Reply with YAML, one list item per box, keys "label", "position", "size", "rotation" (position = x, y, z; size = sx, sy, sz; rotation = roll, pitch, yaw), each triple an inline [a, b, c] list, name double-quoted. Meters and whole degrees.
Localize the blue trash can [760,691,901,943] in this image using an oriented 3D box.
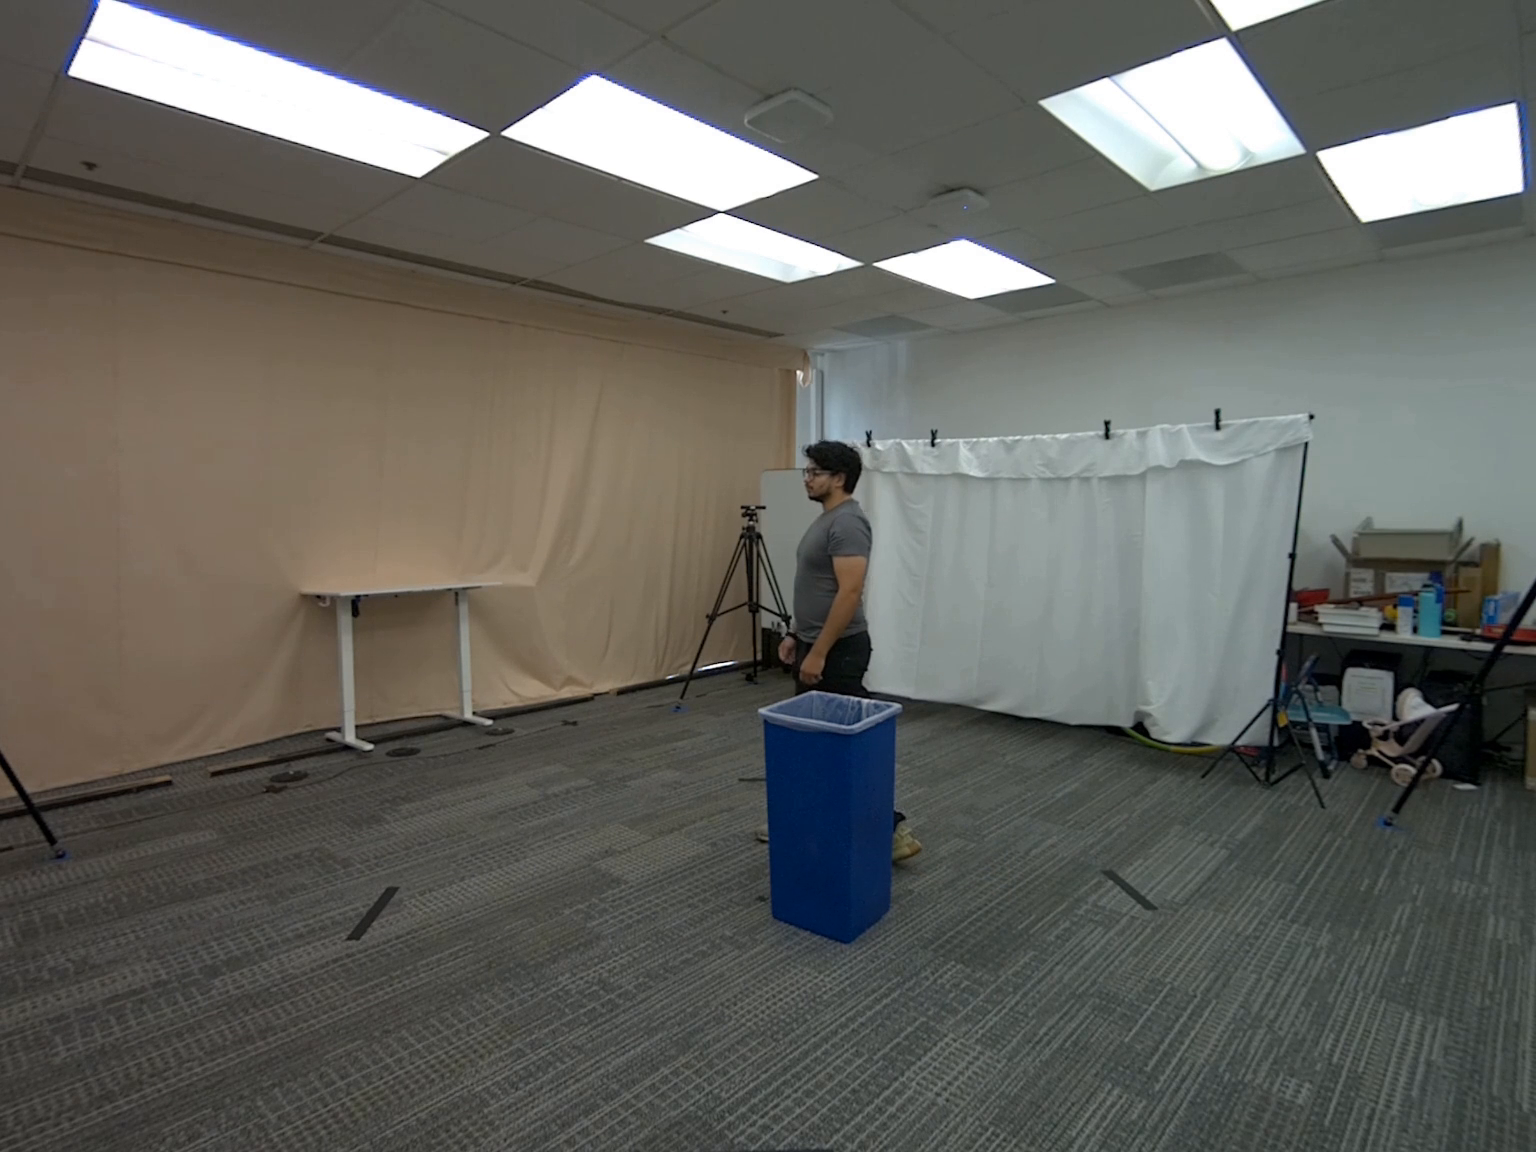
- label: "blue trash can"
  position: [0.213, 0.796, 2.846]
  size: [0.390, 0.712, 0.363]
  rotation: [2, 4, 36]
